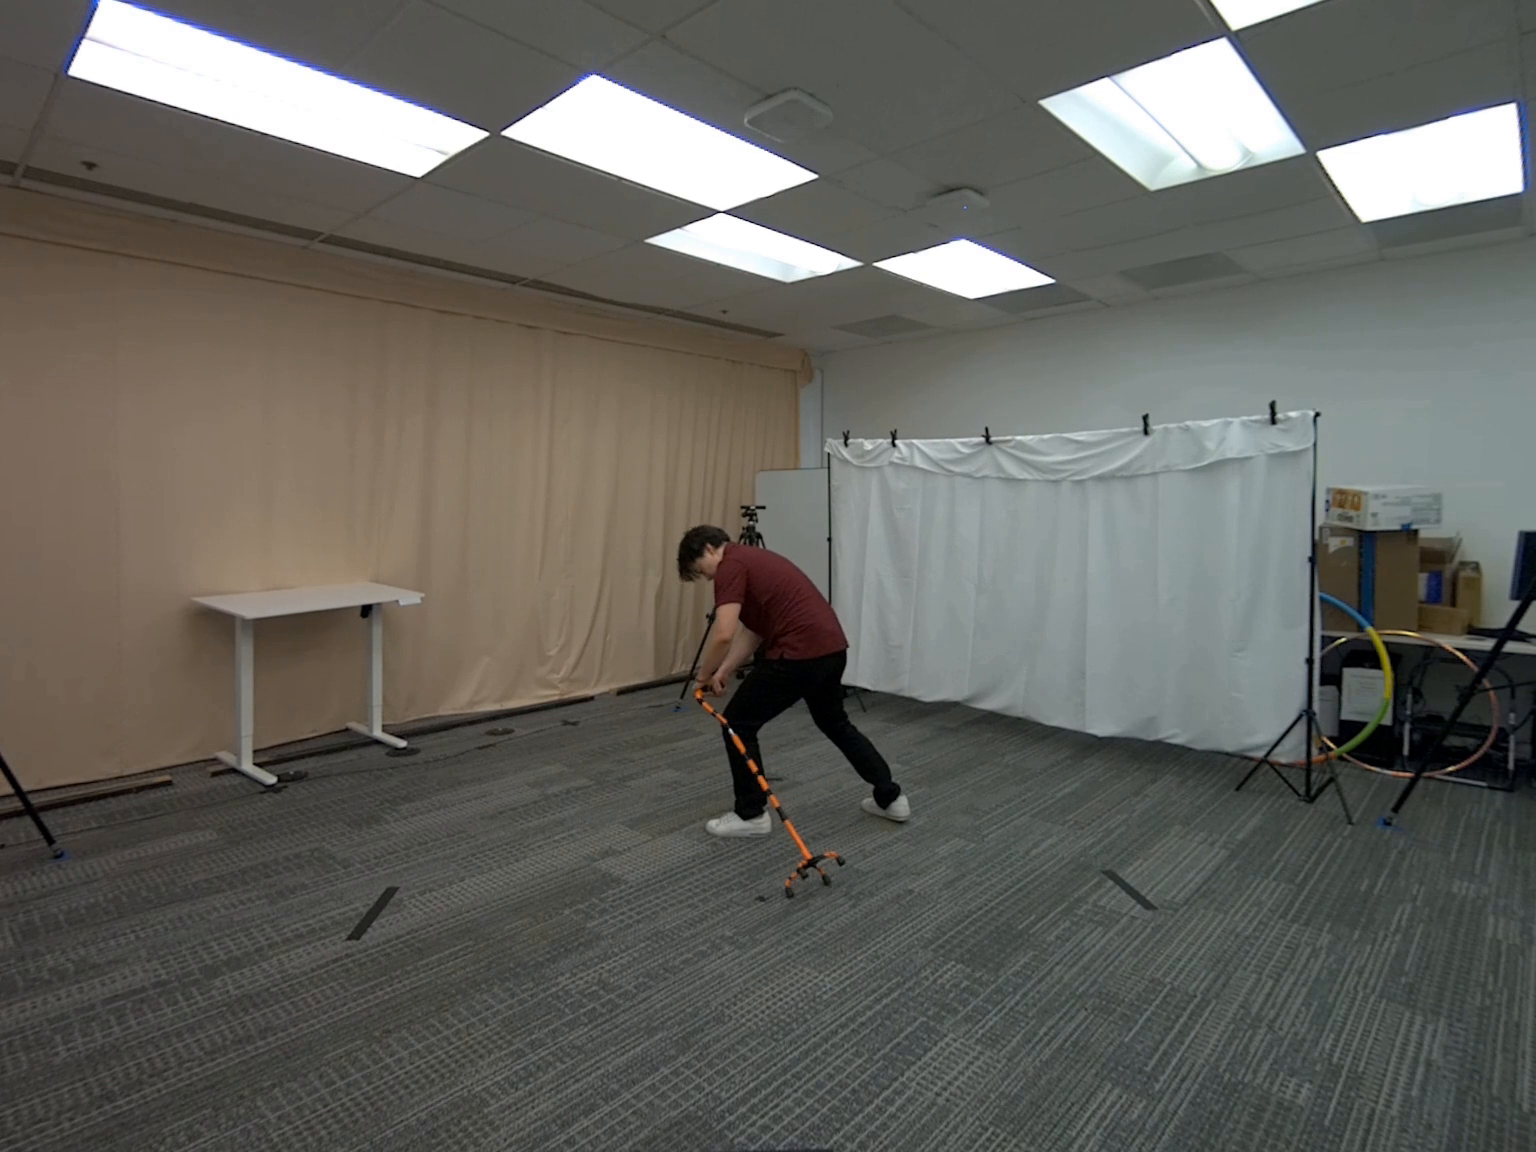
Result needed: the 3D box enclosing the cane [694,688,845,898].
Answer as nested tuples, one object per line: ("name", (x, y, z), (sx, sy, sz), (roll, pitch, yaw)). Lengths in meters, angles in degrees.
("cane", (-0.048, 0.776, 3.273), (0.200, 0.151, 0.938), (-4, 43, -37))
